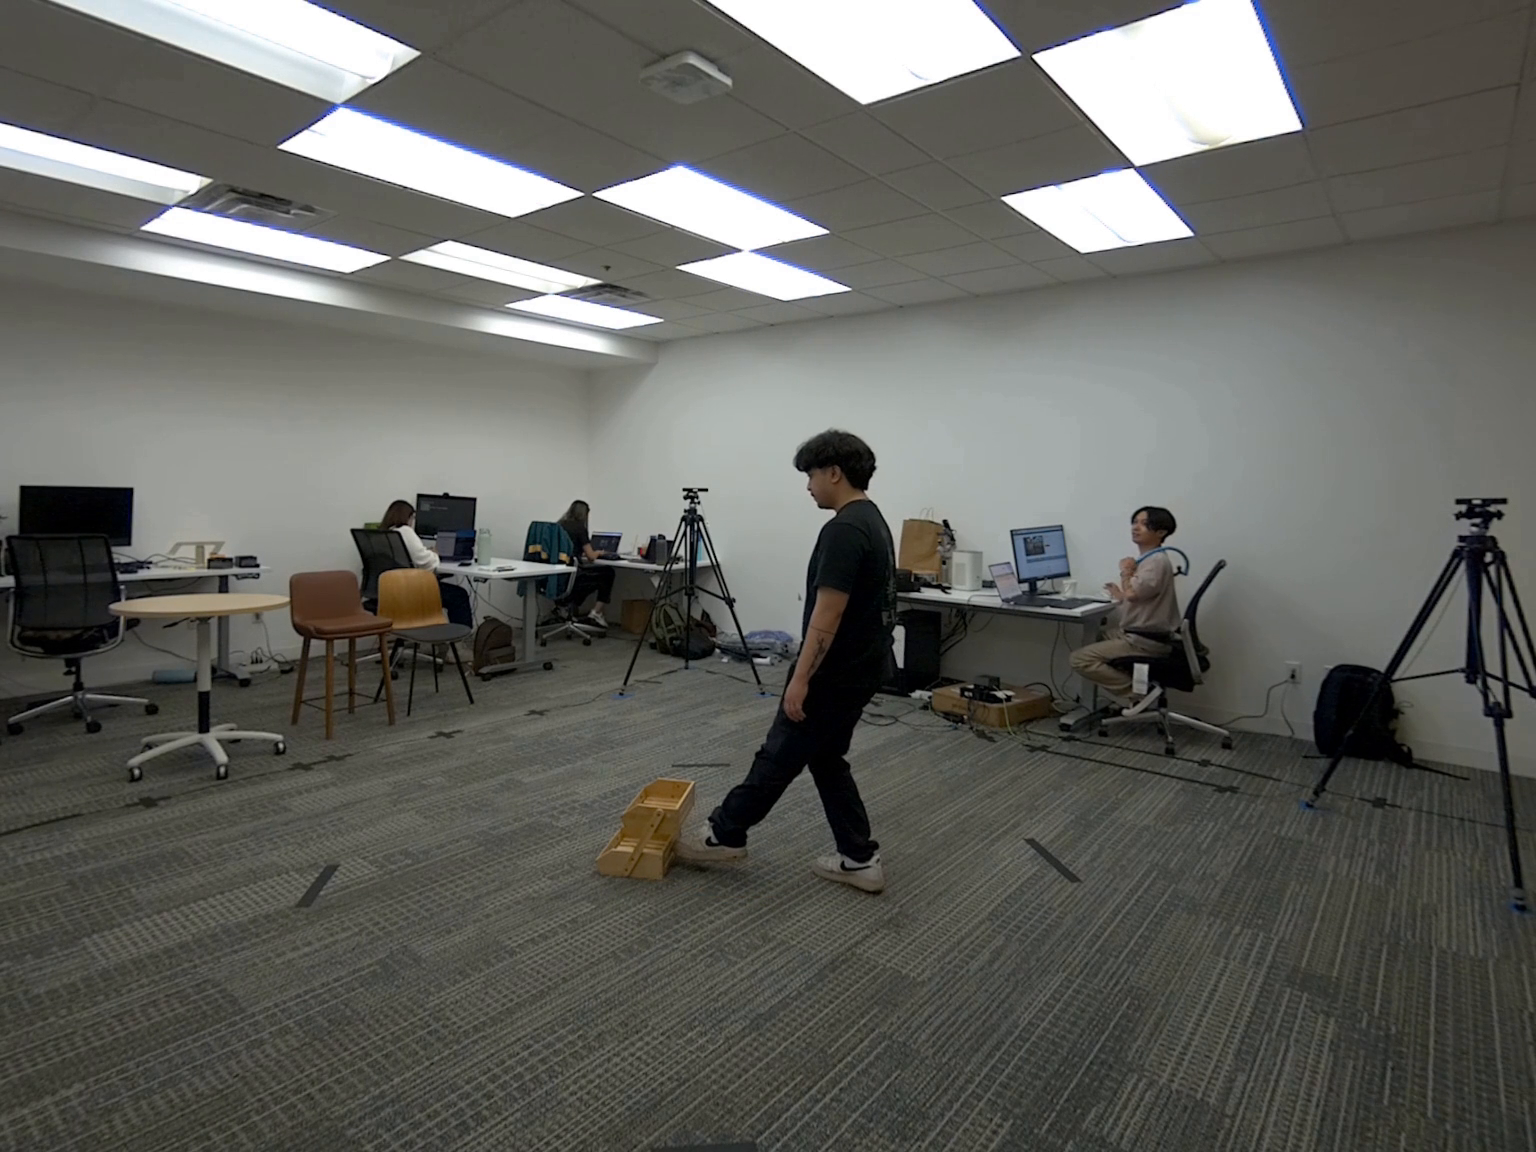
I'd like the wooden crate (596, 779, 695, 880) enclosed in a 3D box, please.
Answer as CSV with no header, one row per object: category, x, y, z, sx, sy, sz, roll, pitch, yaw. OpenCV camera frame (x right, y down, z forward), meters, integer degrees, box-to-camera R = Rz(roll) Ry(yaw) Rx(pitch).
wooden crate,-0.466,0.928,3.176,0.305,0.272,0.322,2,4,8
